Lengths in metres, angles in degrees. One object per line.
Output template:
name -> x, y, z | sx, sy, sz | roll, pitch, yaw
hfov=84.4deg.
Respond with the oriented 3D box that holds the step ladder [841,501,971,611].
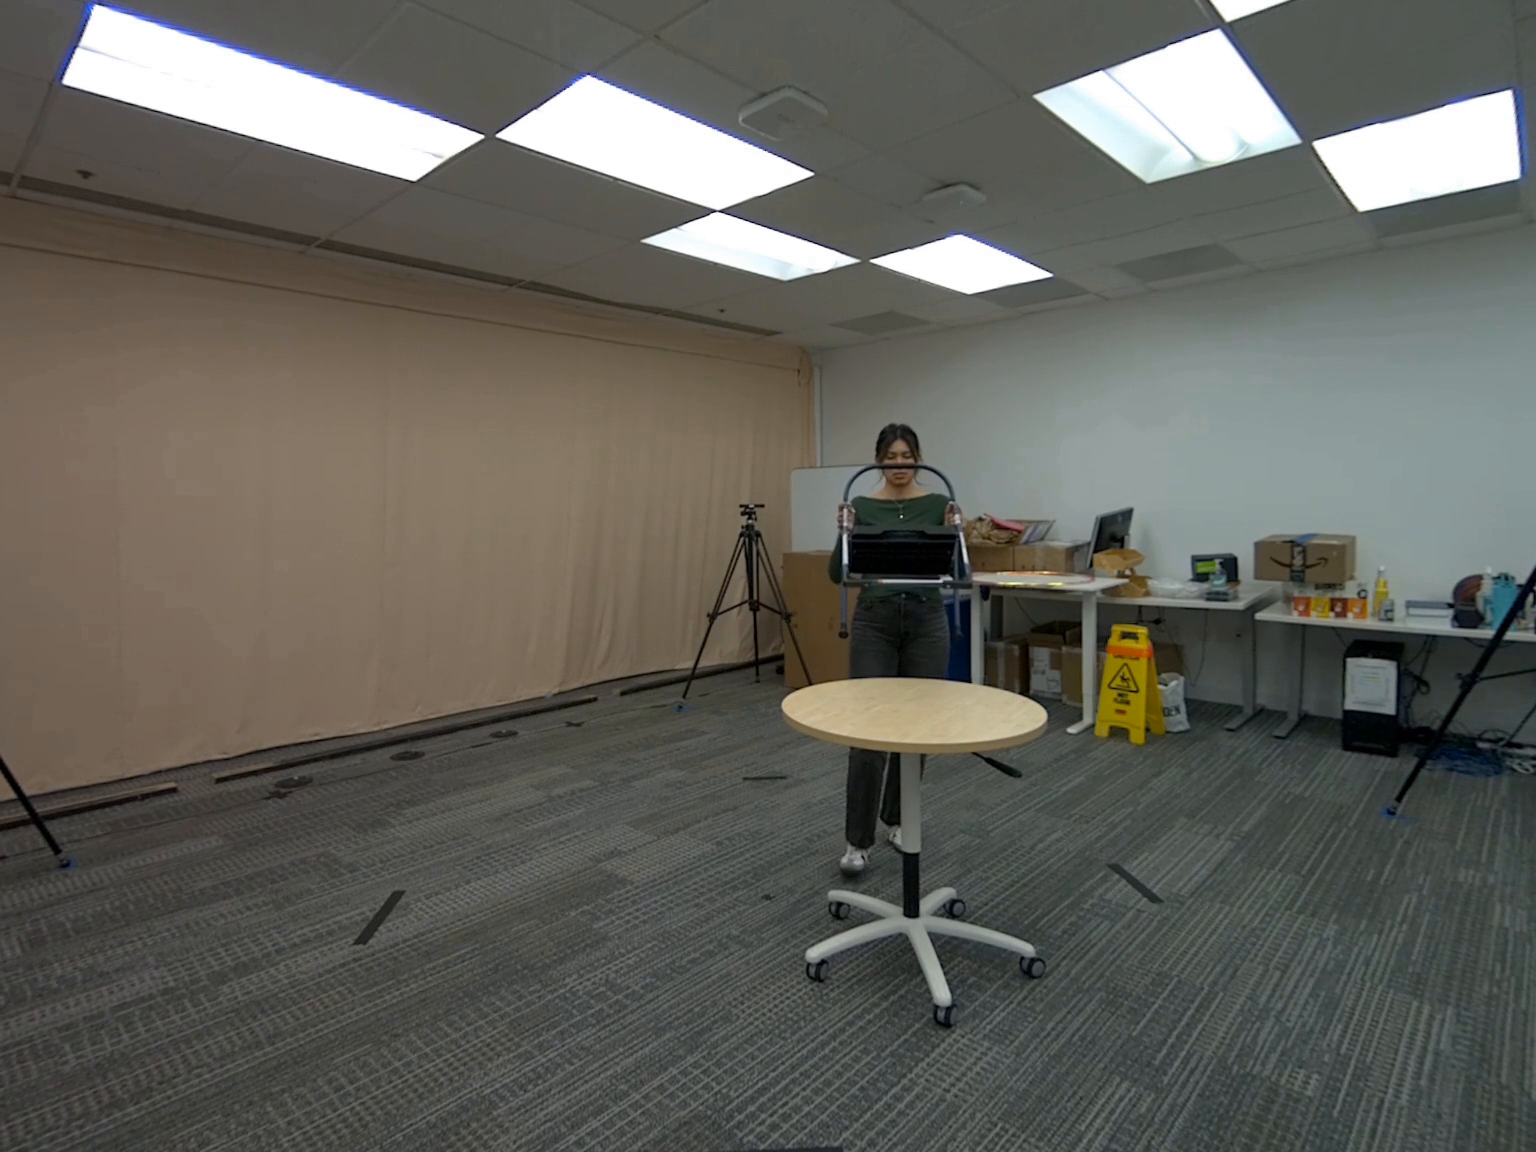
step ladder -> 0.489, -0.125, 3.023 | 0.433, 0.615, 0.342 | 0, -35, 5
